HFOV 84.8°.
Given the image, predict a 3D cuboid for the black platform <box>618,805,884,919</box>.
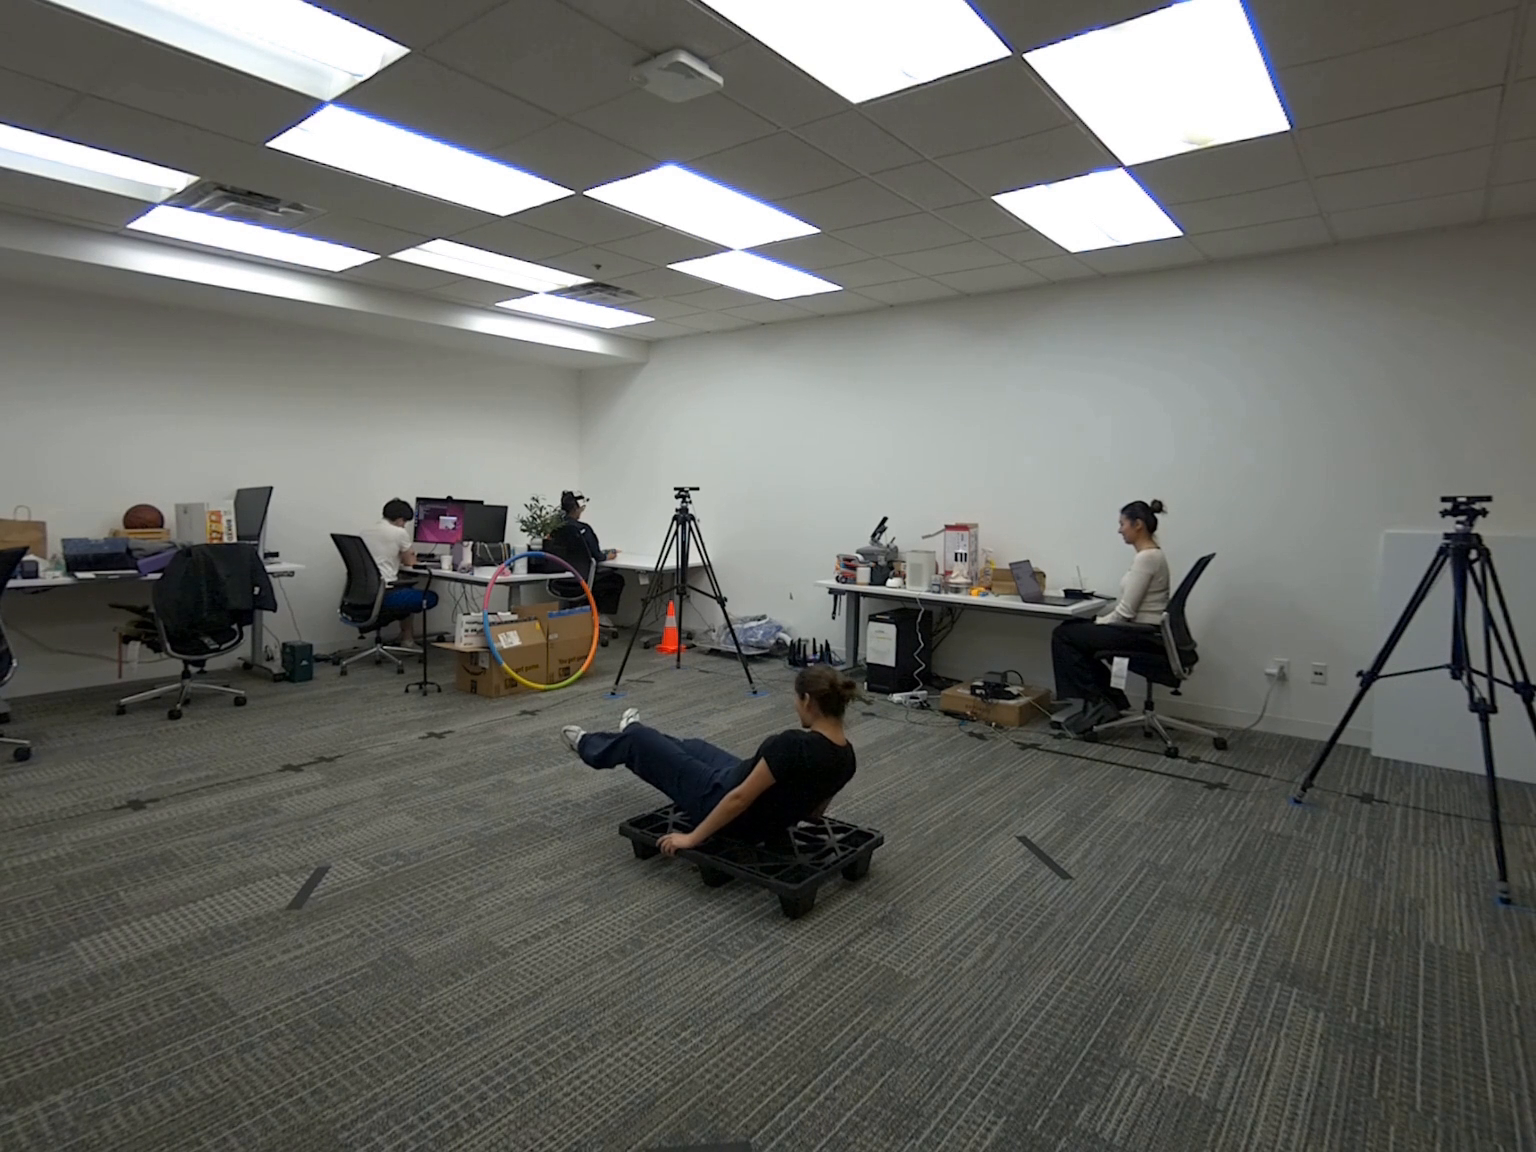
[{"bbox_3d":[-0.053,0.996,3.162,0.832,0.143,0.587,5,6,38],"label":"black platform"}]
